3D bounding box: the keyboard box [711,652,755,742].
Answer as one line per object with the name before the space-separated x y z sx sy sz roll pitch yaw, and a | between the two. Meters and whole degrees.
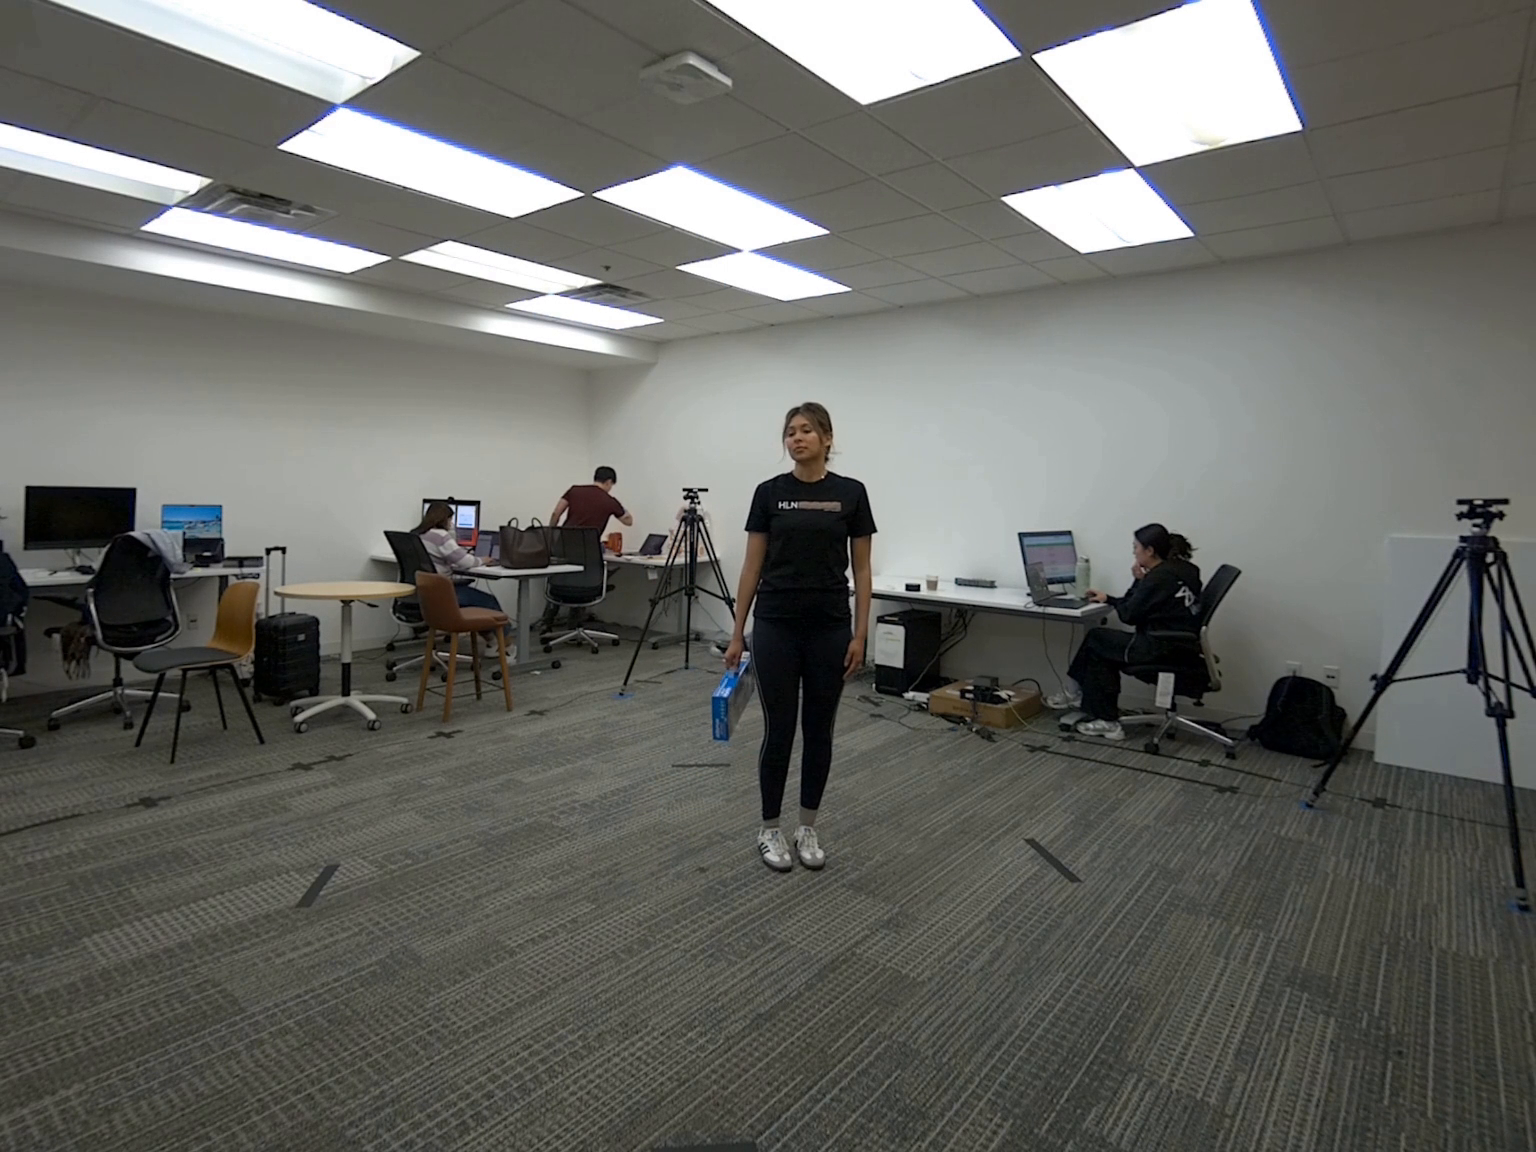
keyboard box | -0.137 0.446 3.235 0.060 0.173 0.437 2 17 11
